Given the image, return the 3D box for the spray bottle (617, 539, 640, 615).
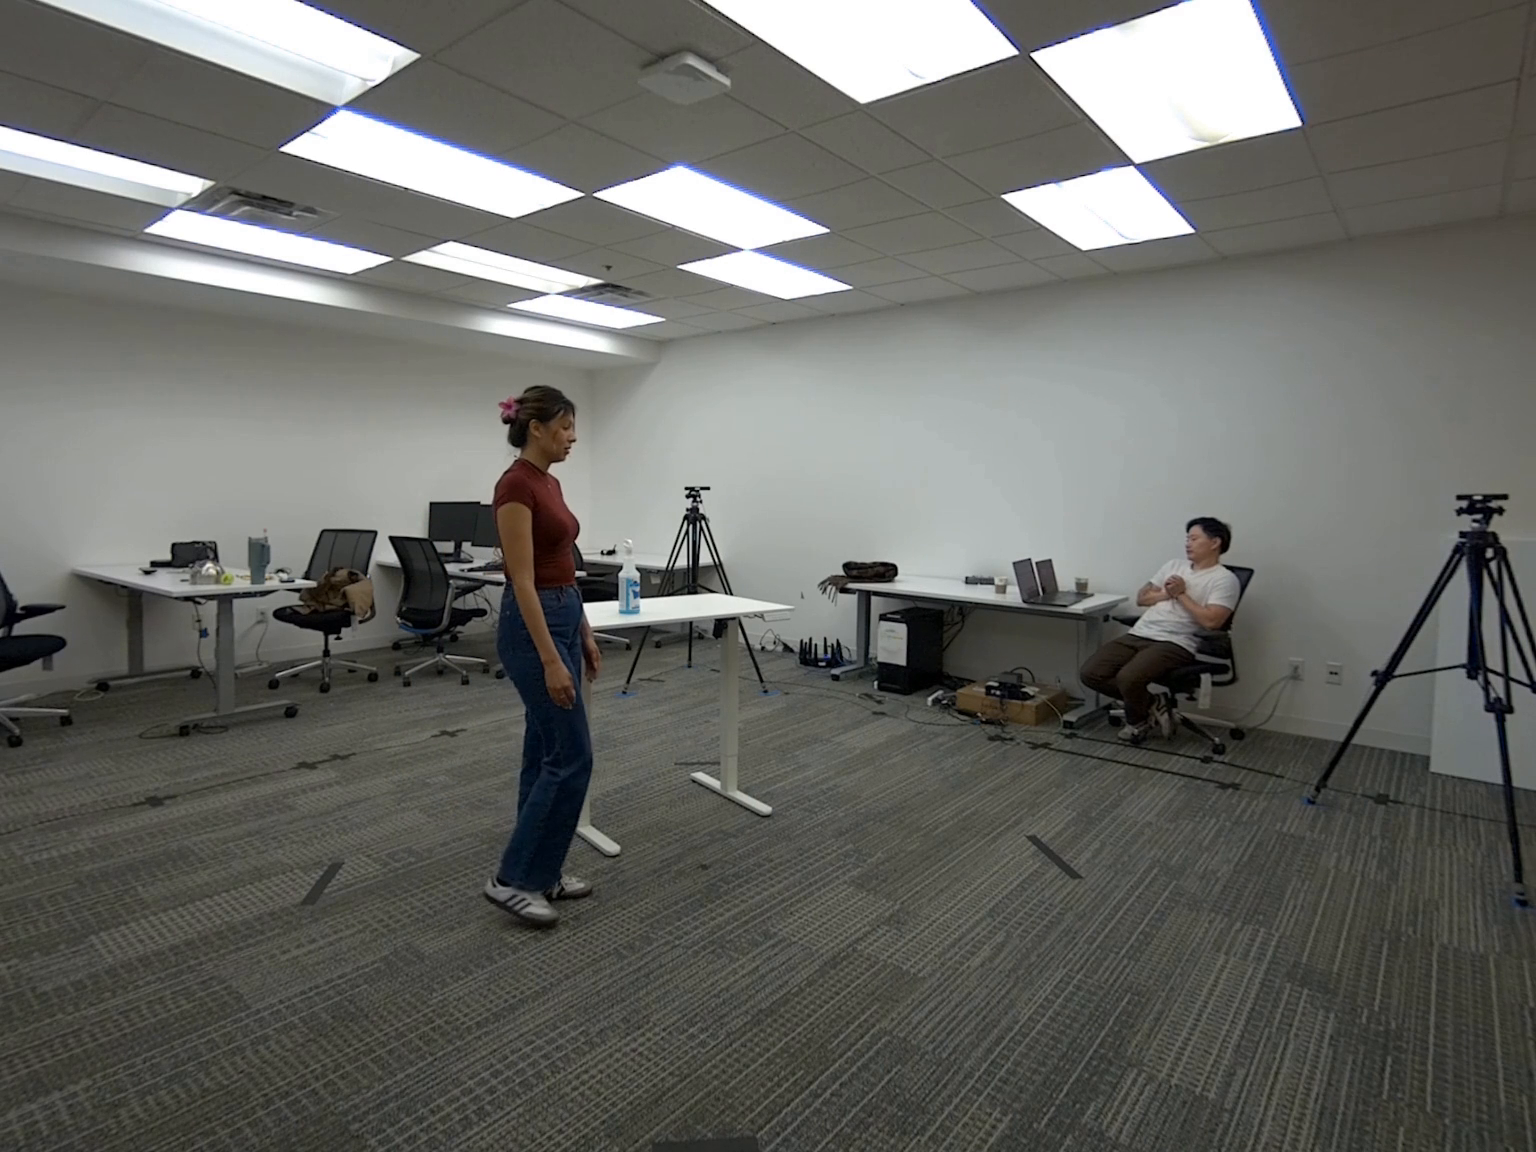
[{"bbox_3d":[-0.579,0.001,3.446,0.087,0.297,0.090,0,2,1],"label":"spray bottle"}]
